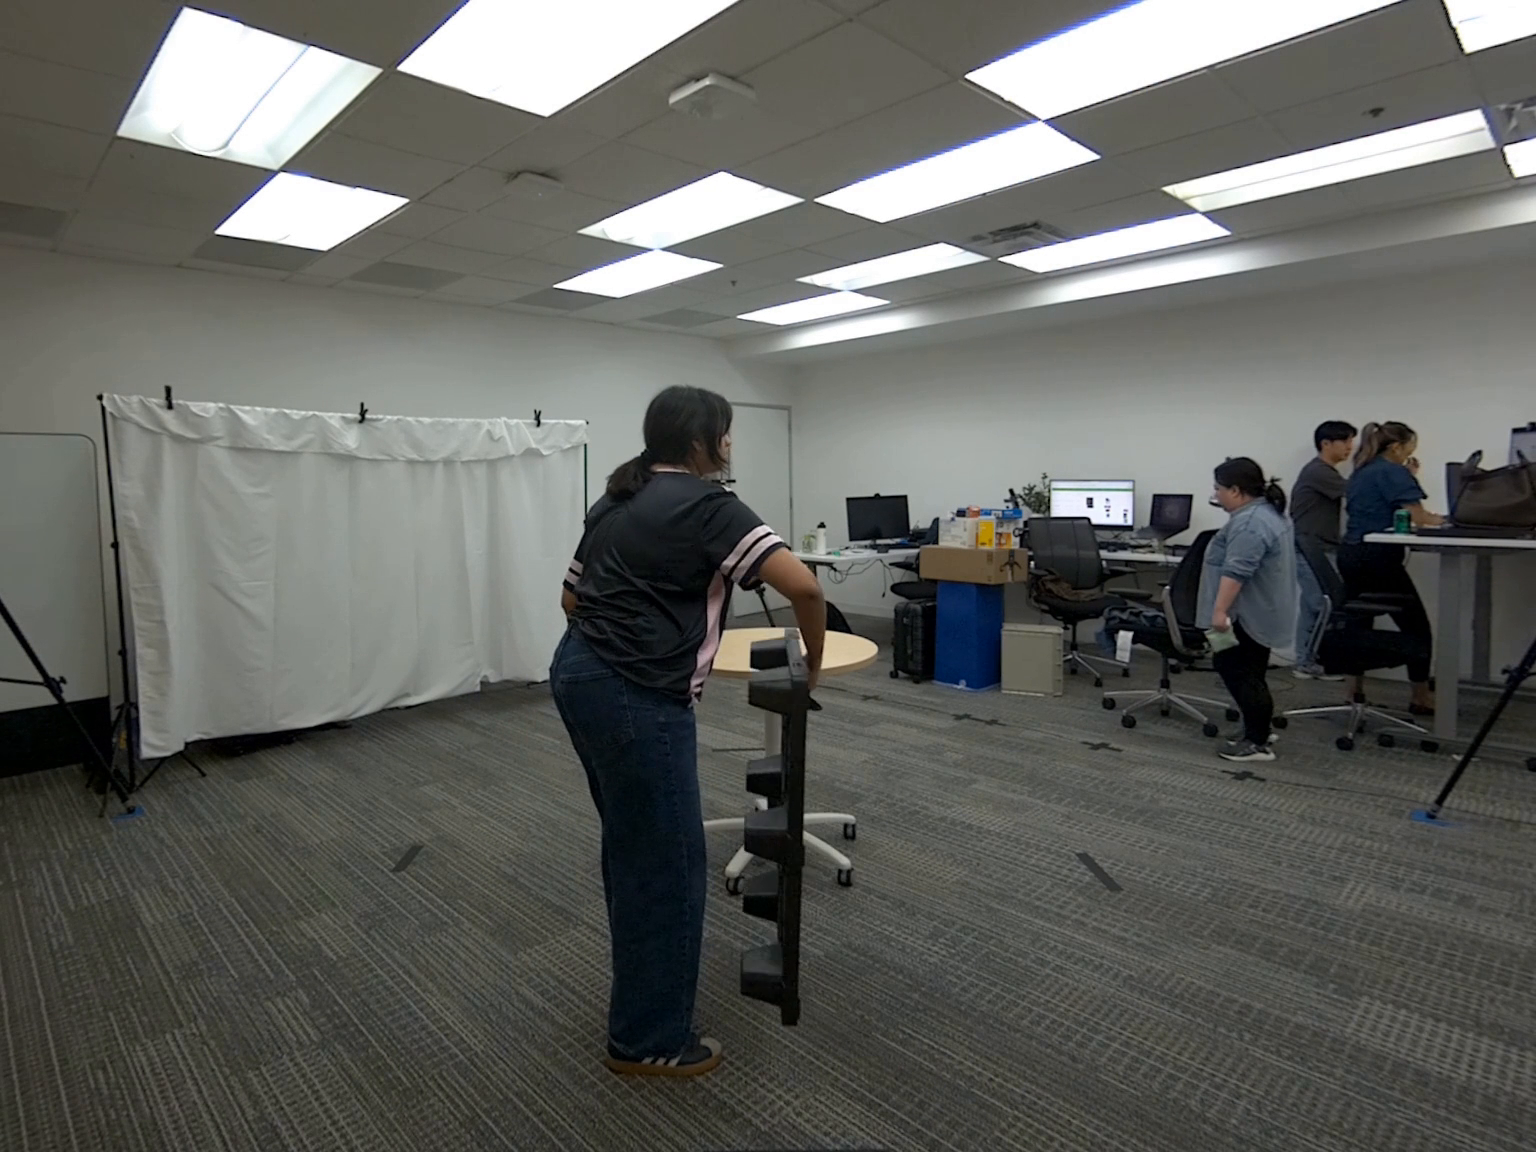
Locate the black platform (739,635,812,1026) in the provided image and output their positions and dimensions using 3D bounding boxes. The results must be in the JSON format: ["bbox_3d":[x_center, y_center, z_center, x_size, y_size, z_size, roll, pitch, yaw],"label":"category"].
[{"bbox_3d":[0.023,0.582,2.171,0.143,0.803,0.608,0,4,-2],"label":"black platform"}]
